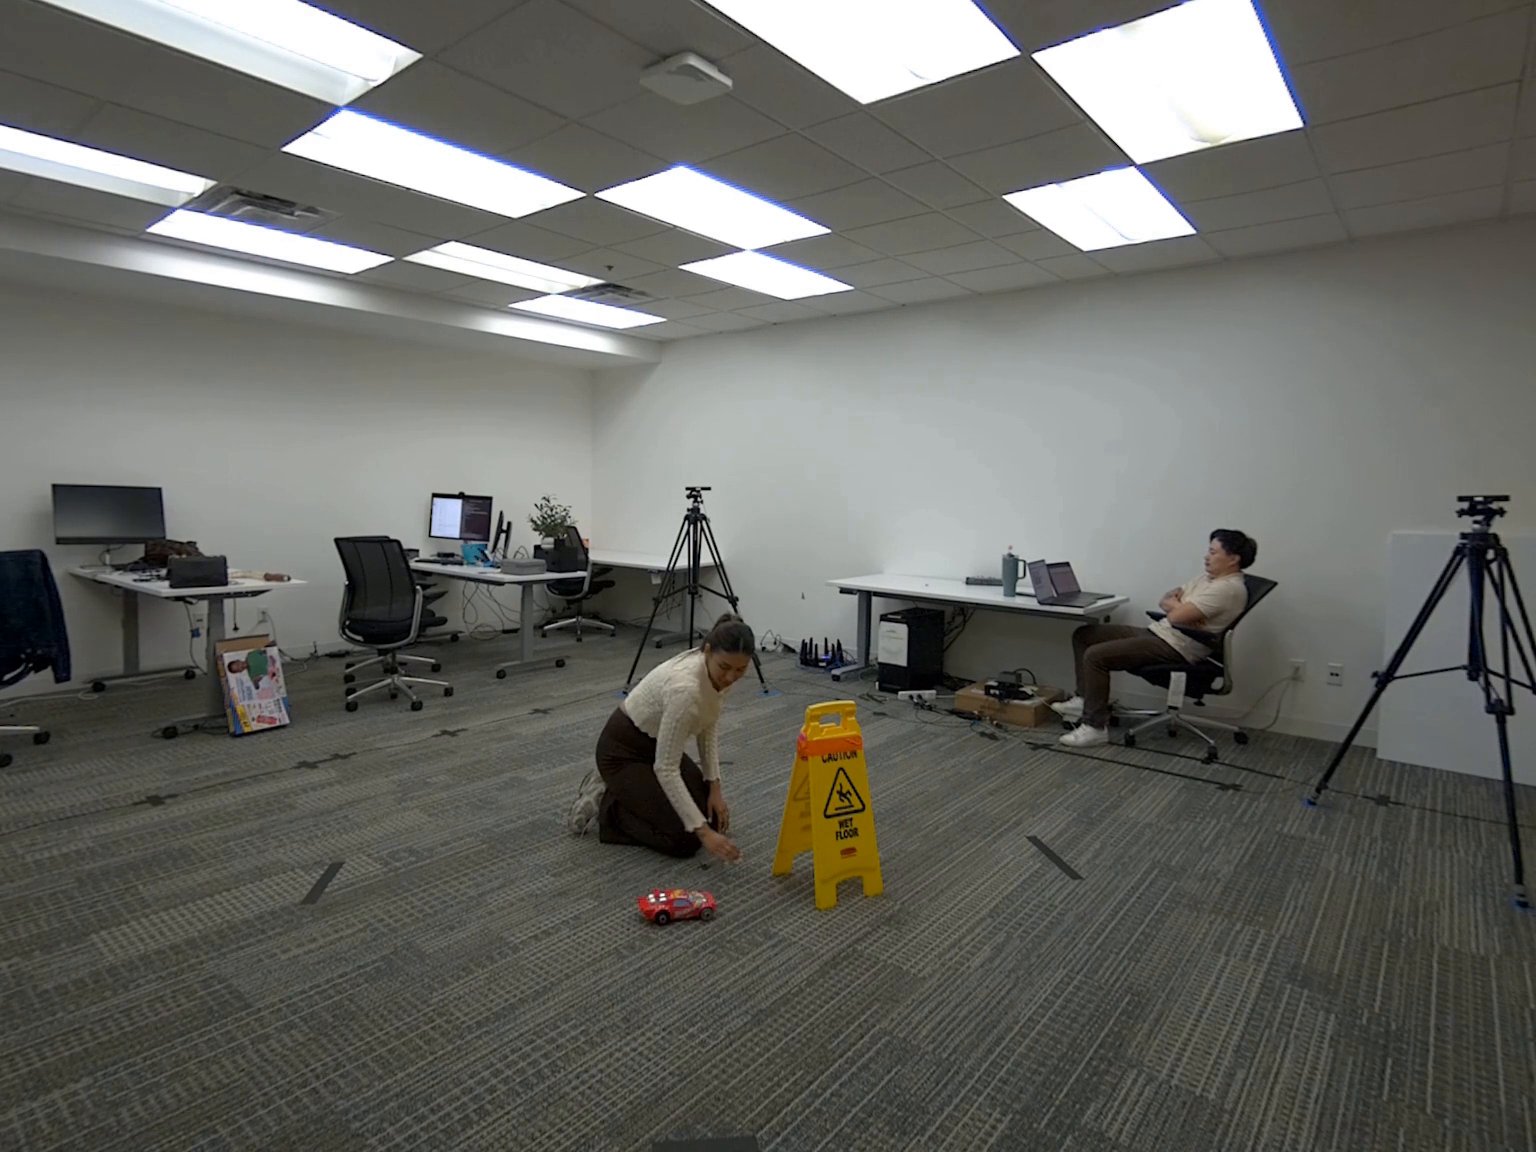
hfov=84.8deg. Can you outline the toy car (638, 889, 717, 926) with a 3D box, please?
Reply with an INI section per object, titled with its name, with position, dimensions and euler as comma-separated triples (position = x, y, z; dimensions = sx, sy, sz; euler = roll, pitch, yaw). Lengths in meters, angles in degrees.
[toy car]
position = -0.310, 1.064, 2.754
dimensions = 0.250, 0.083, 0.133
euler = 11, 1, -15
